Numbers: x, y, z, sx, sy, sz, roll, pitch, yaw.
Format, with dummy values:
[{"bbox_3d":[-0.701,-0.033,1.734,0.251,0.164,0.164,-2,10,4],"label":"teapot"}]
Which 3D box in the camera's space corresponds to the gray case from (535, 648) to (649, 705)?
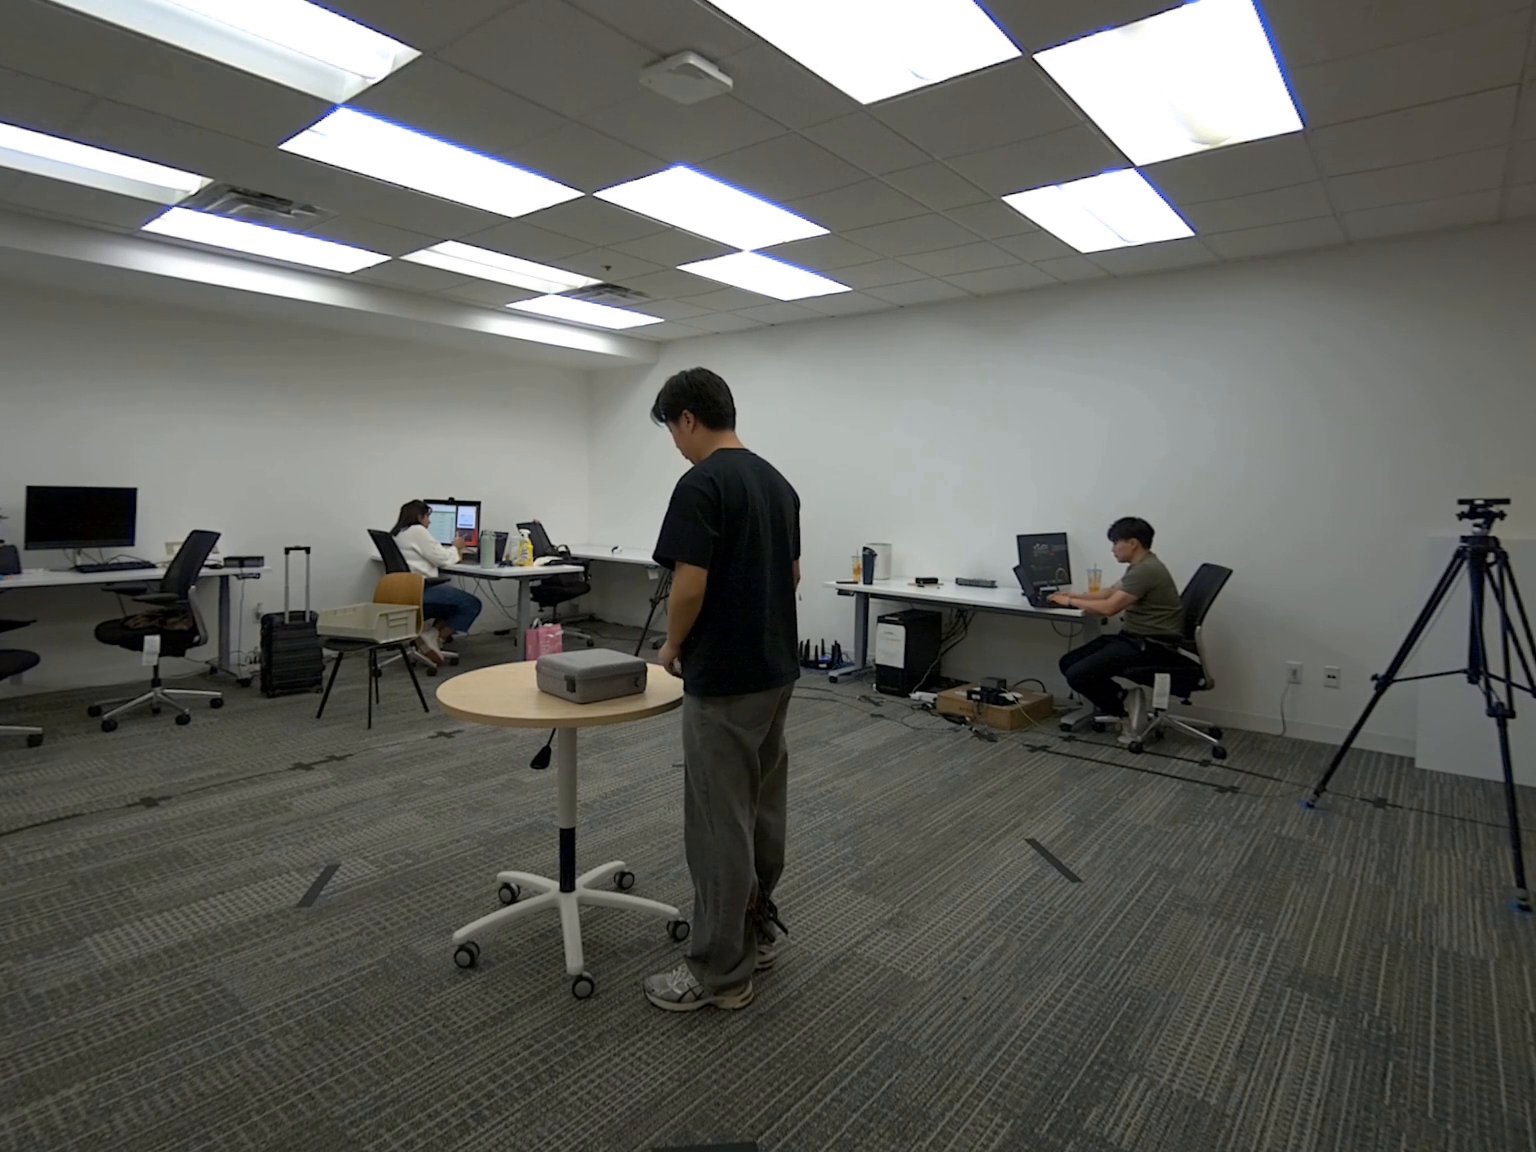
[{"bbox_3d":[-0.528,0.288,2.527,0.278,0.103,0.272,-4,7,-44],"label":"gray case"}]
